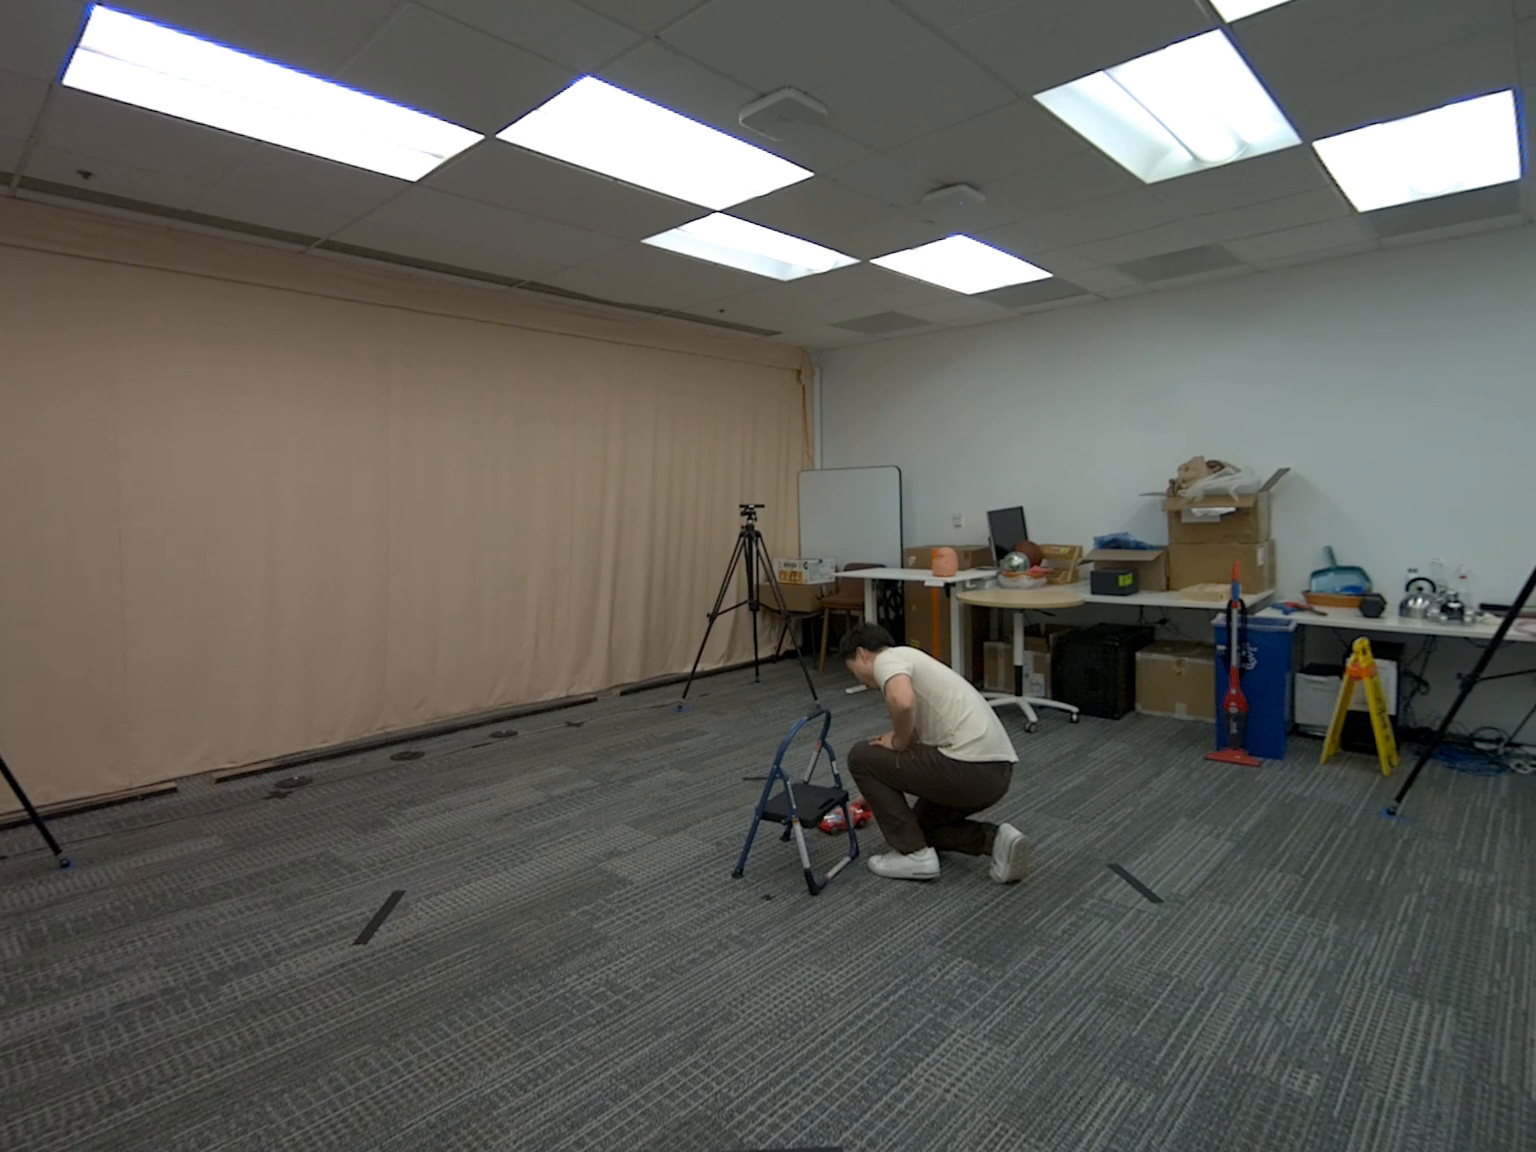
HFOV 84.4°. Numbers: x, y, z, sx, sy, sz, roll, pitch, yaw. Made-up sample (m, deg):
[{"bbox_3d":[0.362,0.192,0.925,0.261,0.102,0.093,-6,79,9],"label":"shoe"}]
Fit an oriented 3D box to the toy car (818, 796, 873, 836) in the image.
[{"bbox_3d":[0.337,1.051,3.620,0.249,0.083,0.134,-16,9,-28],"label":"toy car"}]
